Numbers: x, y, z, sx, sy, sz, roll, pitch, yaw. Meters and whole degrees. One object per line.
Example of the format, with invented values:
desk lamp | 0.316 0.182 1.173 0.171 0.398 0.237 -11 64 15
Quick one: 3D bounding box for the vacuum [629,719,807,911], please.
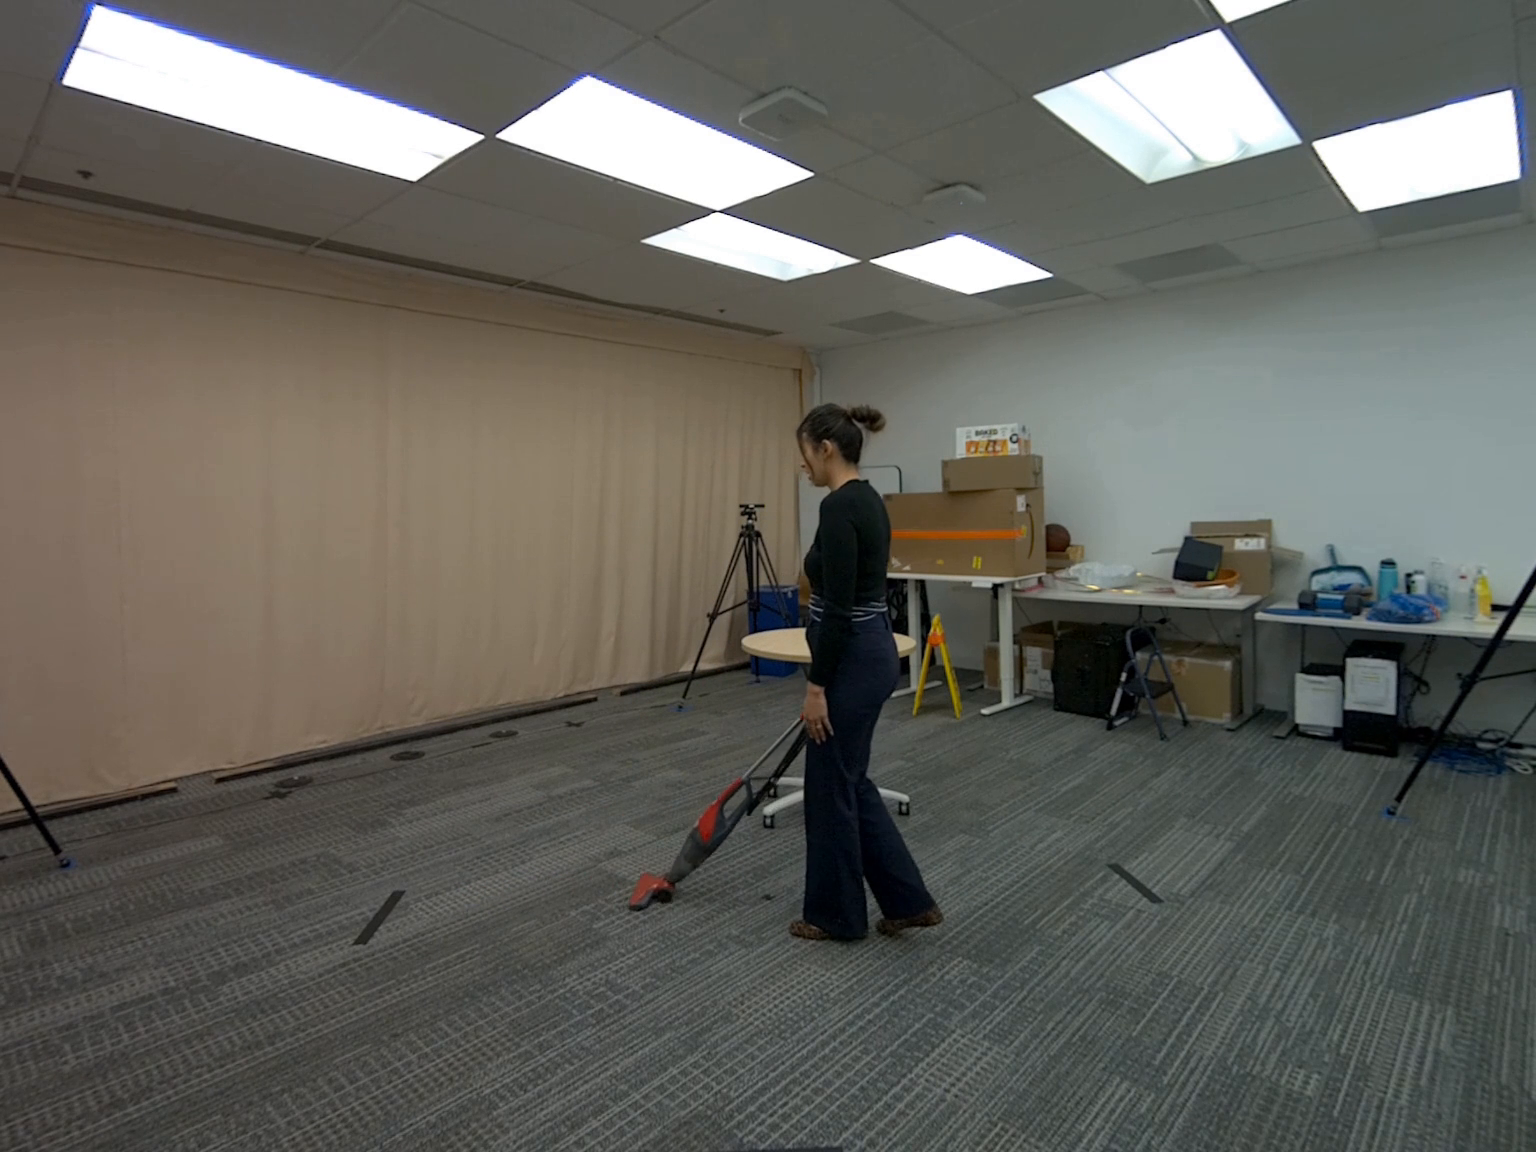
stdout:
vacuum | -0.064 0.749 2.978 0.144 1.050 0.251 42 4 1
